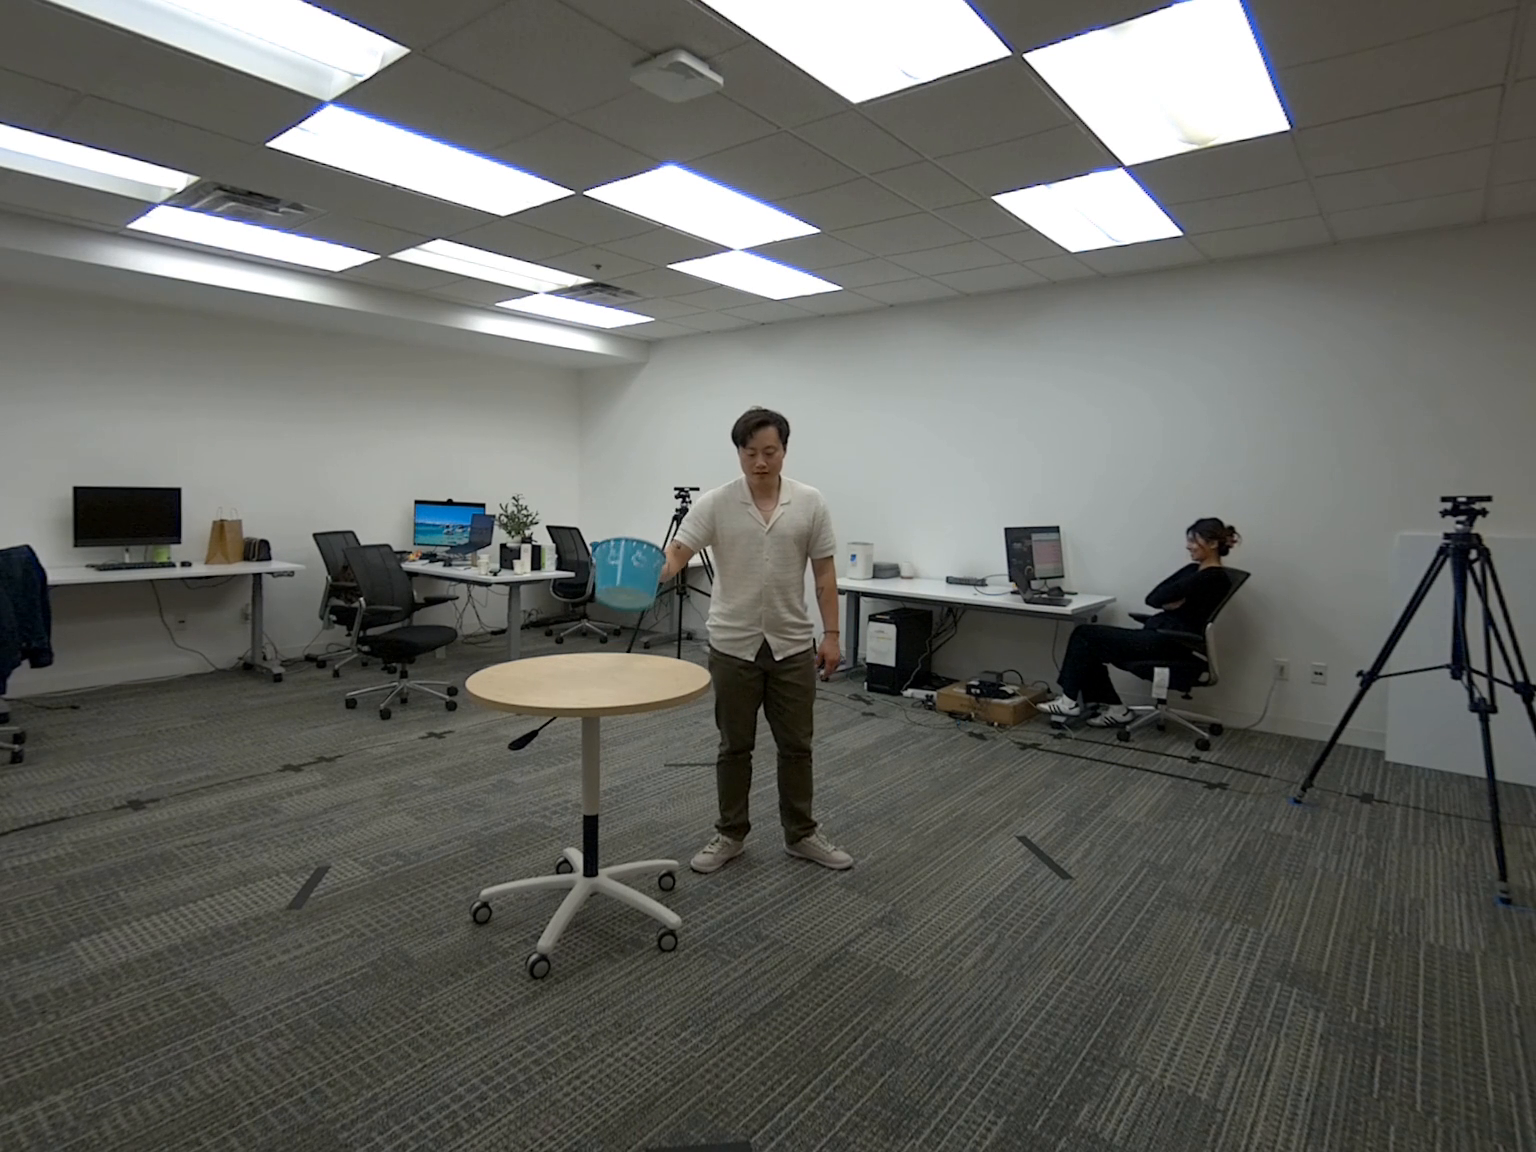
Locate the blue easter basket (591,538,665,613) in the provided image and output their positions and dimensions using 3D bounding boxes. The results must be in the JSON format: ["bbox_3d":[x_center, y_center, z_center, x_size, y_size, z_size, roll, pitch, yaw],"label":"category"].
[{"bbox_3d":[-0.433,-0.001,2.642,0.244,0.159,0.238,4,-27,0],"label":"blue easter basket"}]
